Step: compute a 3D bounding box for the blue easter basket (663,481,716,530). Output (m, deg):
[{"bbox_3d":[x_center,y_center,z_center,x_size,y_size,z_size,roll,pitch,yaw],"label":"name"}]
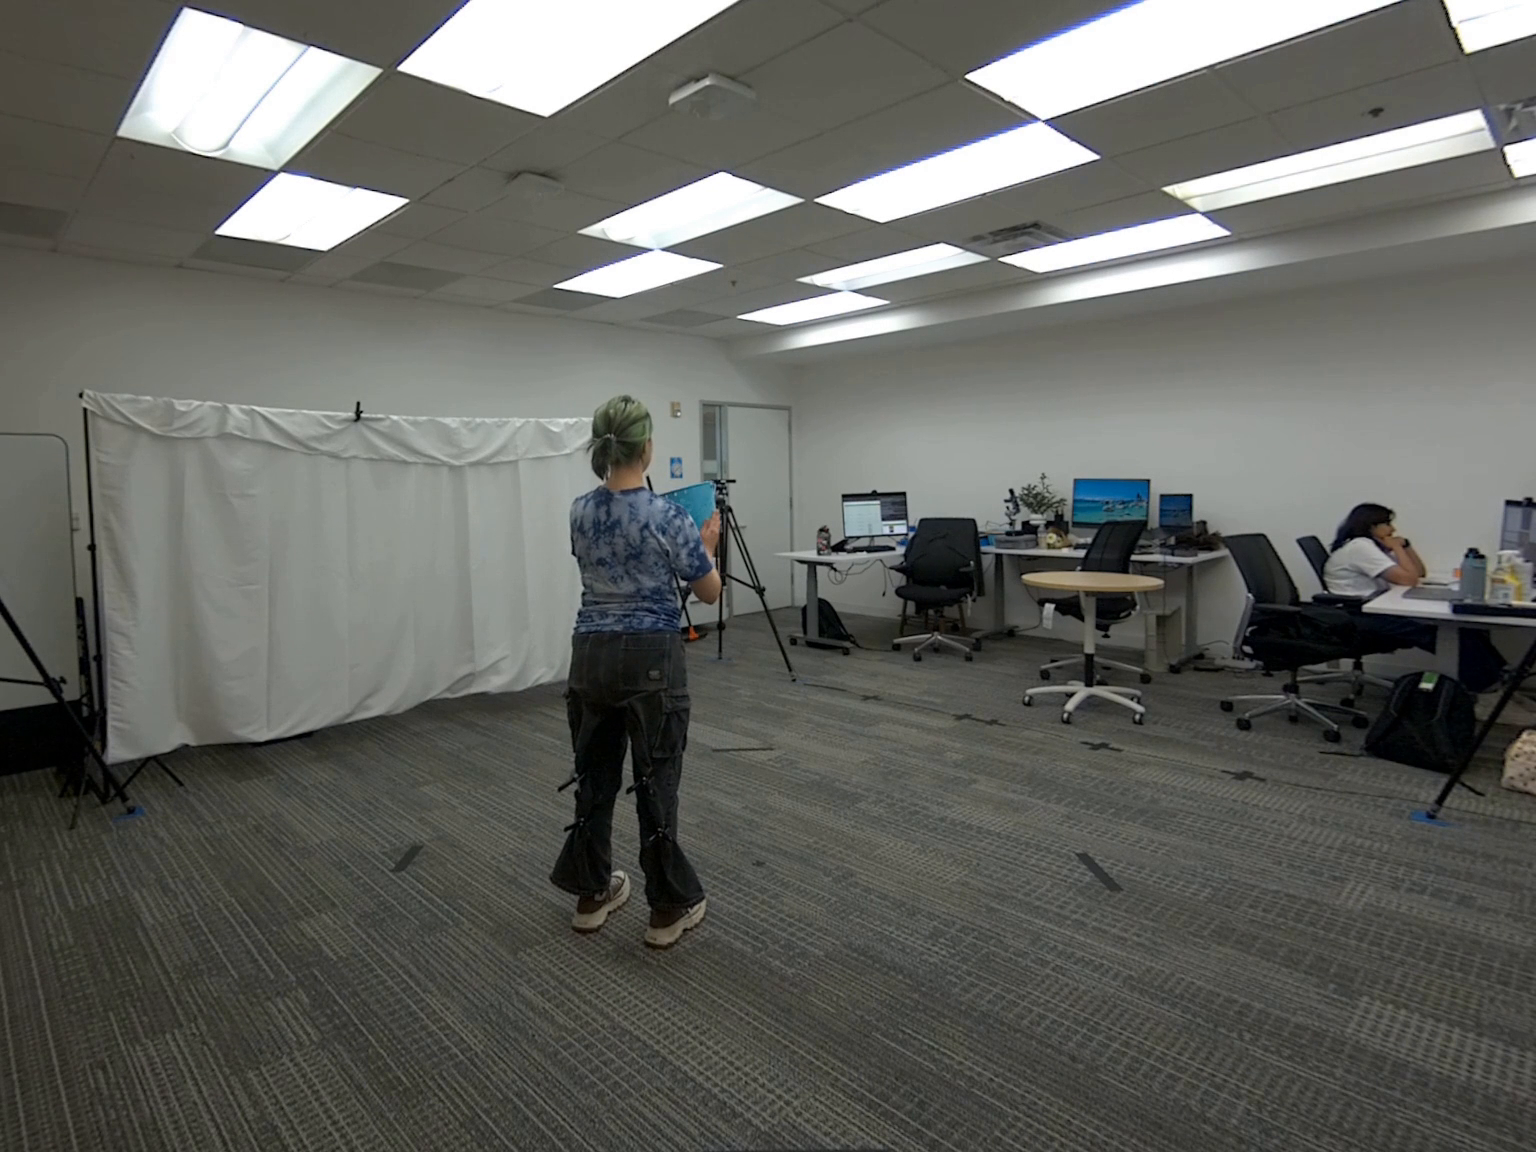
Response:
[{"bbox_3d":[-0.284,-0.222,2.967,0.243,0.156,0.244,-14,2,-1],"label":"blue easter basket"}]
